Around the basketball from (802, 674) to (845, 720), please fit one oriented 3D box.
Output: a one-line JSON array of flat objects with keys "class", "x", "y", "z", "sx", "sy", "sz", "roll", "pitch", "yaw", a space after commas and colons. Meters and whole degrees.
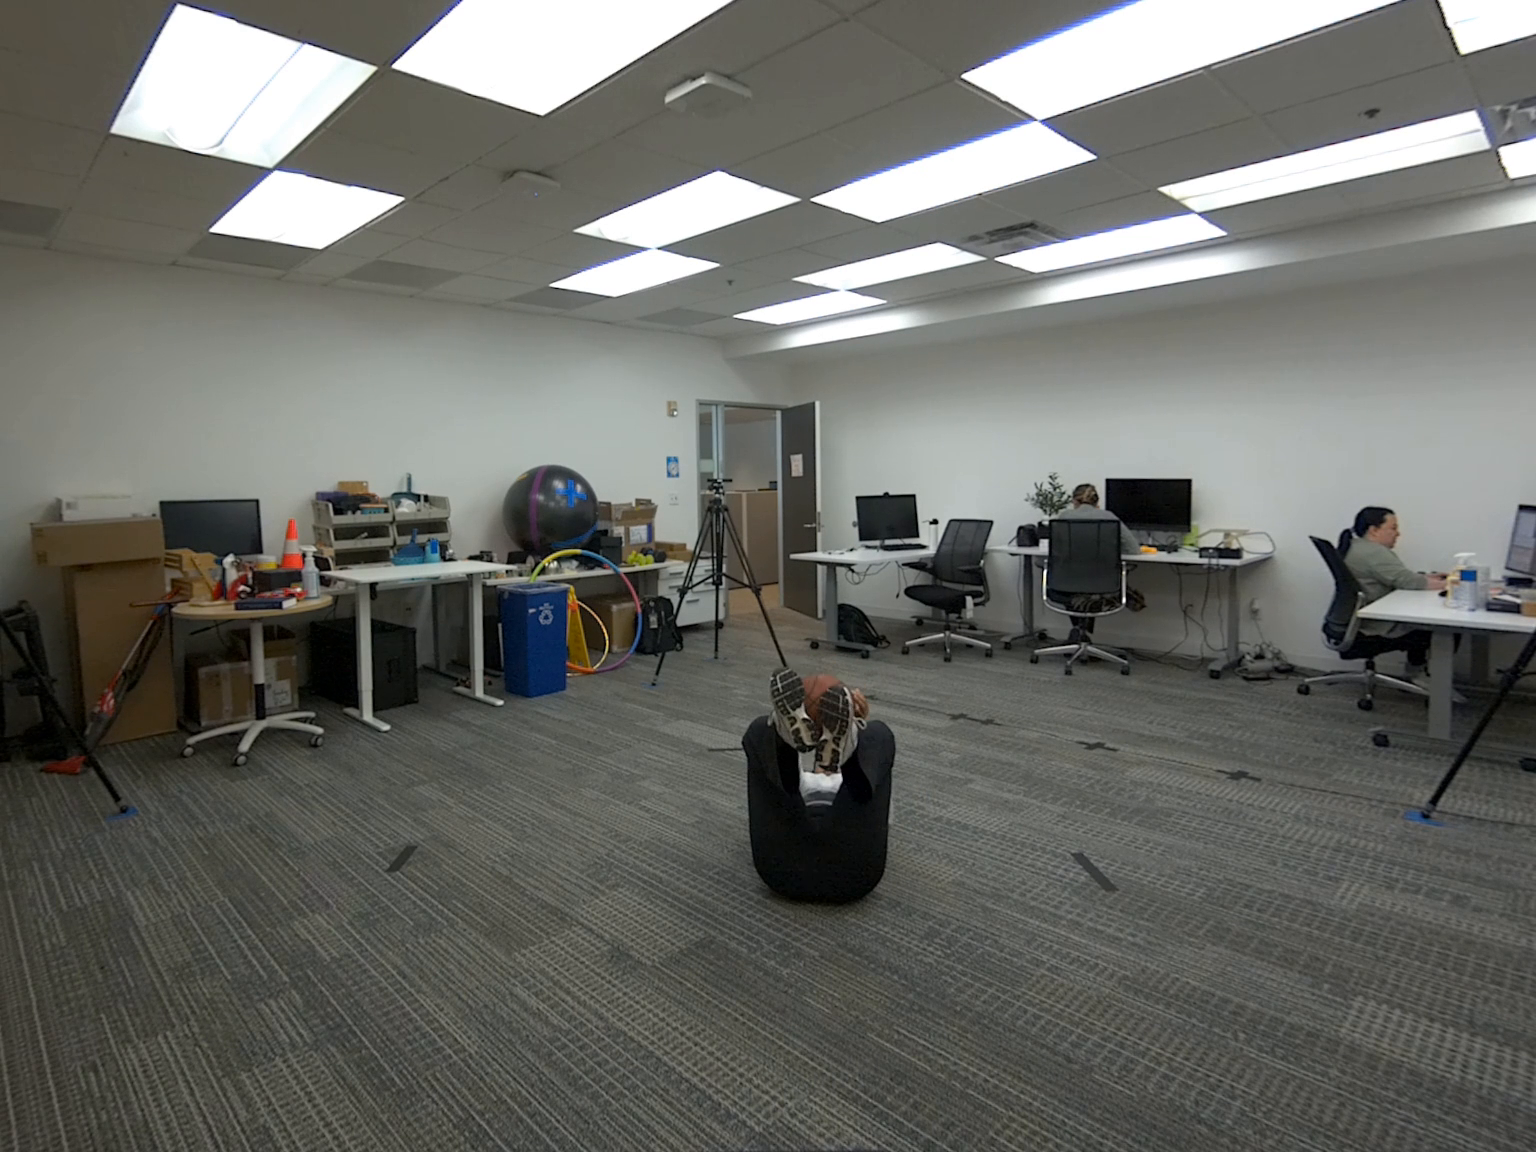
[{"class": "basketball", "x": 0.182, "y": 0.446, "z": 2.901, "sx": 0.236, "sy": 0.235, "sz": 0.237, "roll": -1, "pitch": 4, "yaw": -2}]
